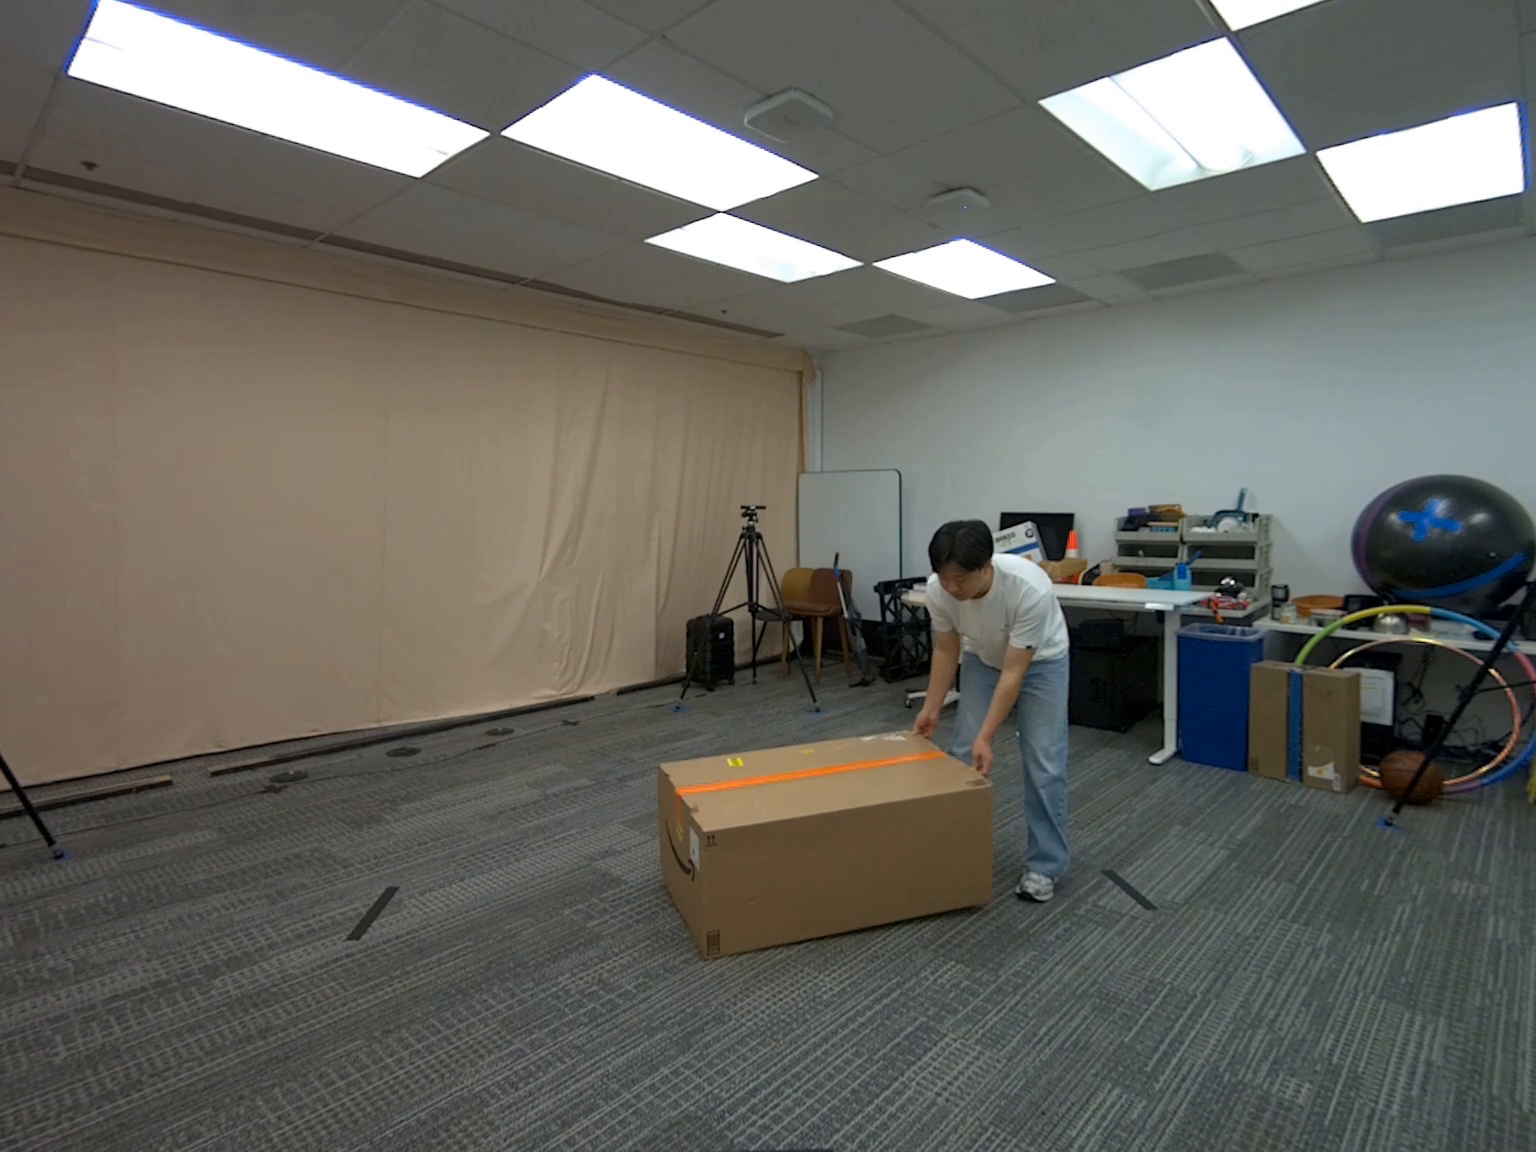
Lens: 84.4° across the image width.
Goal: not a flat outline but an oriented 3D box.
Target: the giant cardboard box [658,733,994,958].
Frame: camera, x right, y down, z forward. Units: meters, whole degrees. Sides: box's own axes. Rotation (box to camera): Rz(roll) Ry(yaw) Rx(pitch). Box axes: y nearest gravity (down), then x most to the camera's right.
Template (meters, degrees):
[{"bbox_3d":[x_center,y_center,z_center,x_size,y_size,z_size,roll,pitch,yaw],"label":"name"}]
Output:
[{"bbox_3d":[0.186,0.893,2.962,1.008,0.424,0.590,-4,7,-17],"label":"giant cardboard box"}]
